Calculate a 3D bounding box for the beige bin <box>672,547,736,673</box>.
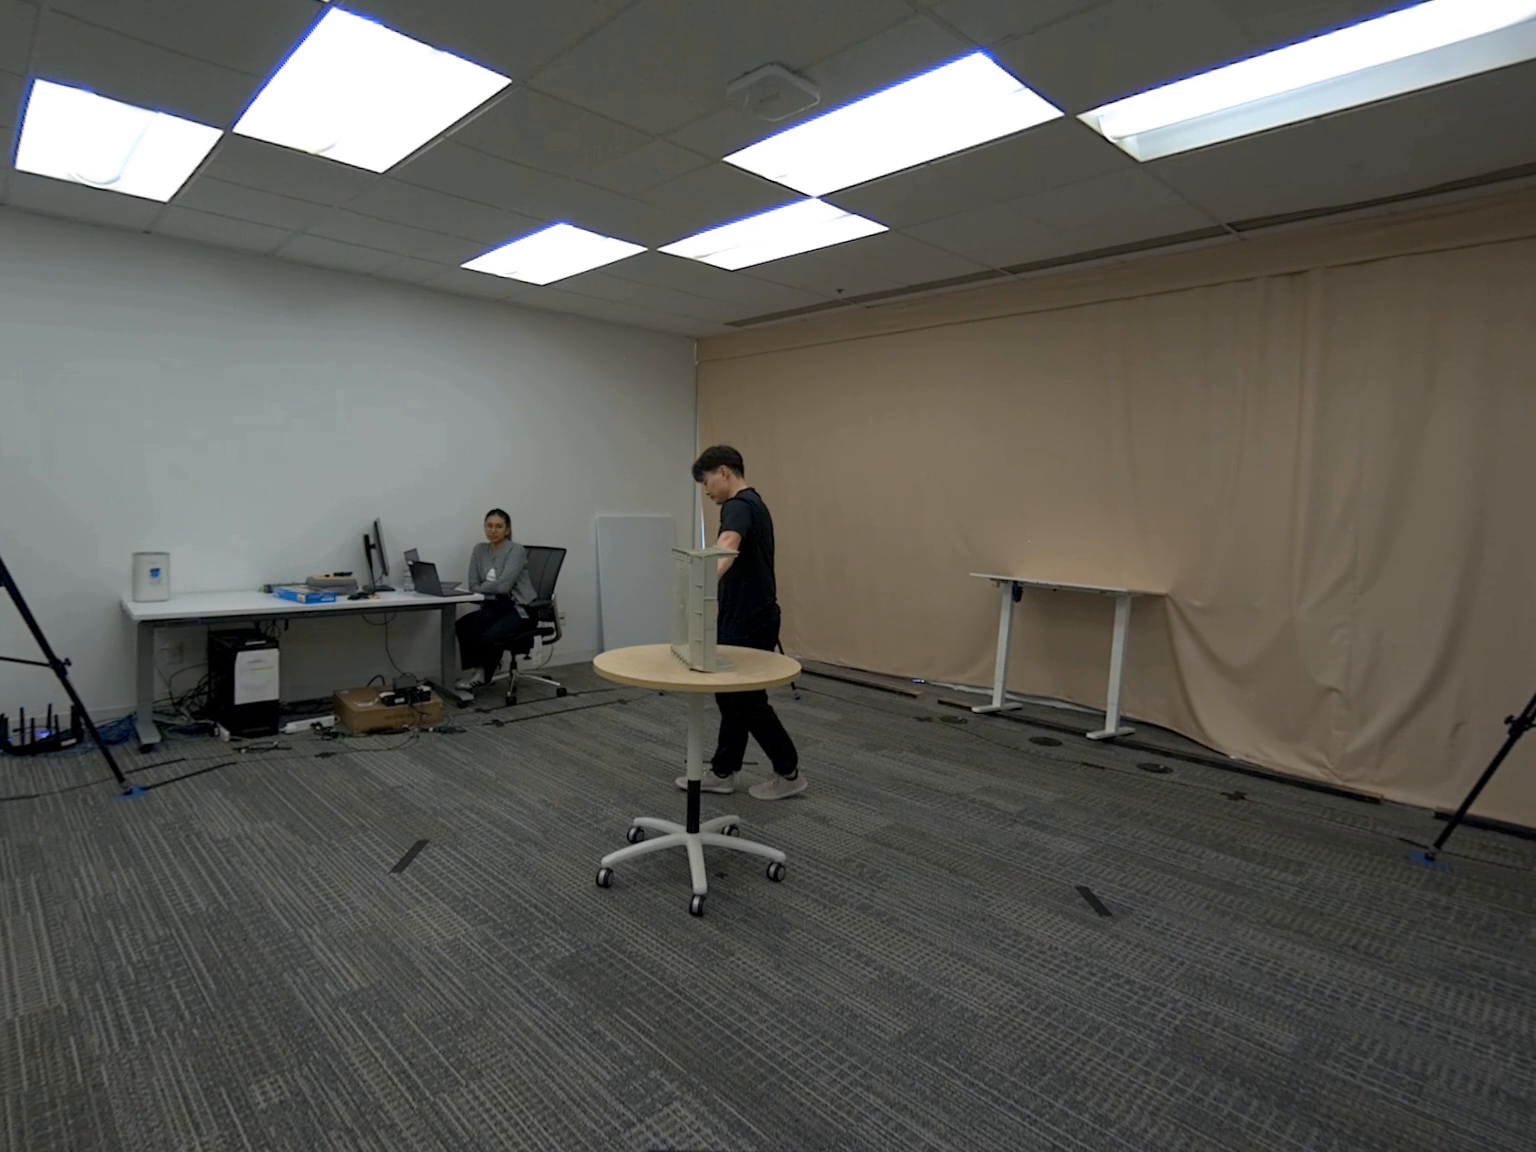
[{"bbox_3d":[-0.237,0.110,3.093,0.186,0.421,0.384,-1,5,-19],"label":"beige bin"}]
